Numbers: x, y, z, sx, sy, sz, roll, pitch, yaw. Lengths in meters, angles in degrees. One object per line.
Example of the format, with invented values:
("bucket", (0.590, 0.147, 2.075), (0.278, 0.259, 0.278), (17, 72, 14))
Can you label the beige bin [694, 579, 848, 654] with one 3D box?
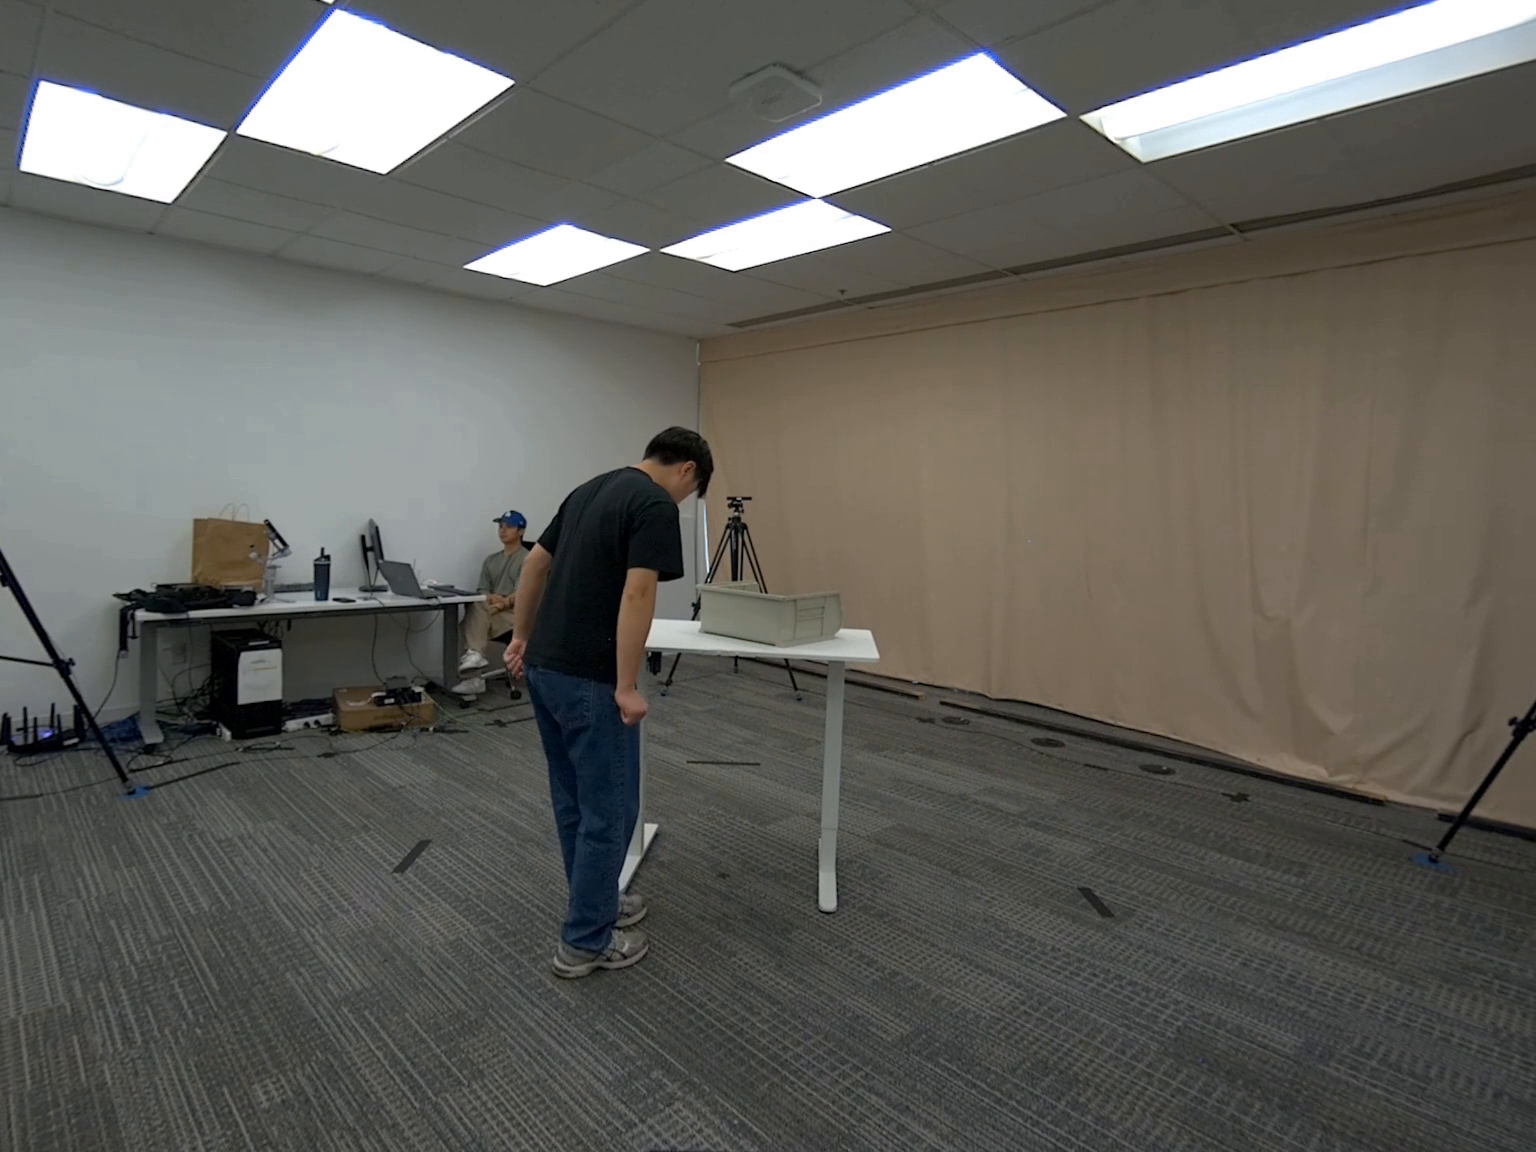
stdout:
("beige bin", (0.010, 0.137, 3.154), (0.433, 0.188, 0.369), (6, 8, 41))
